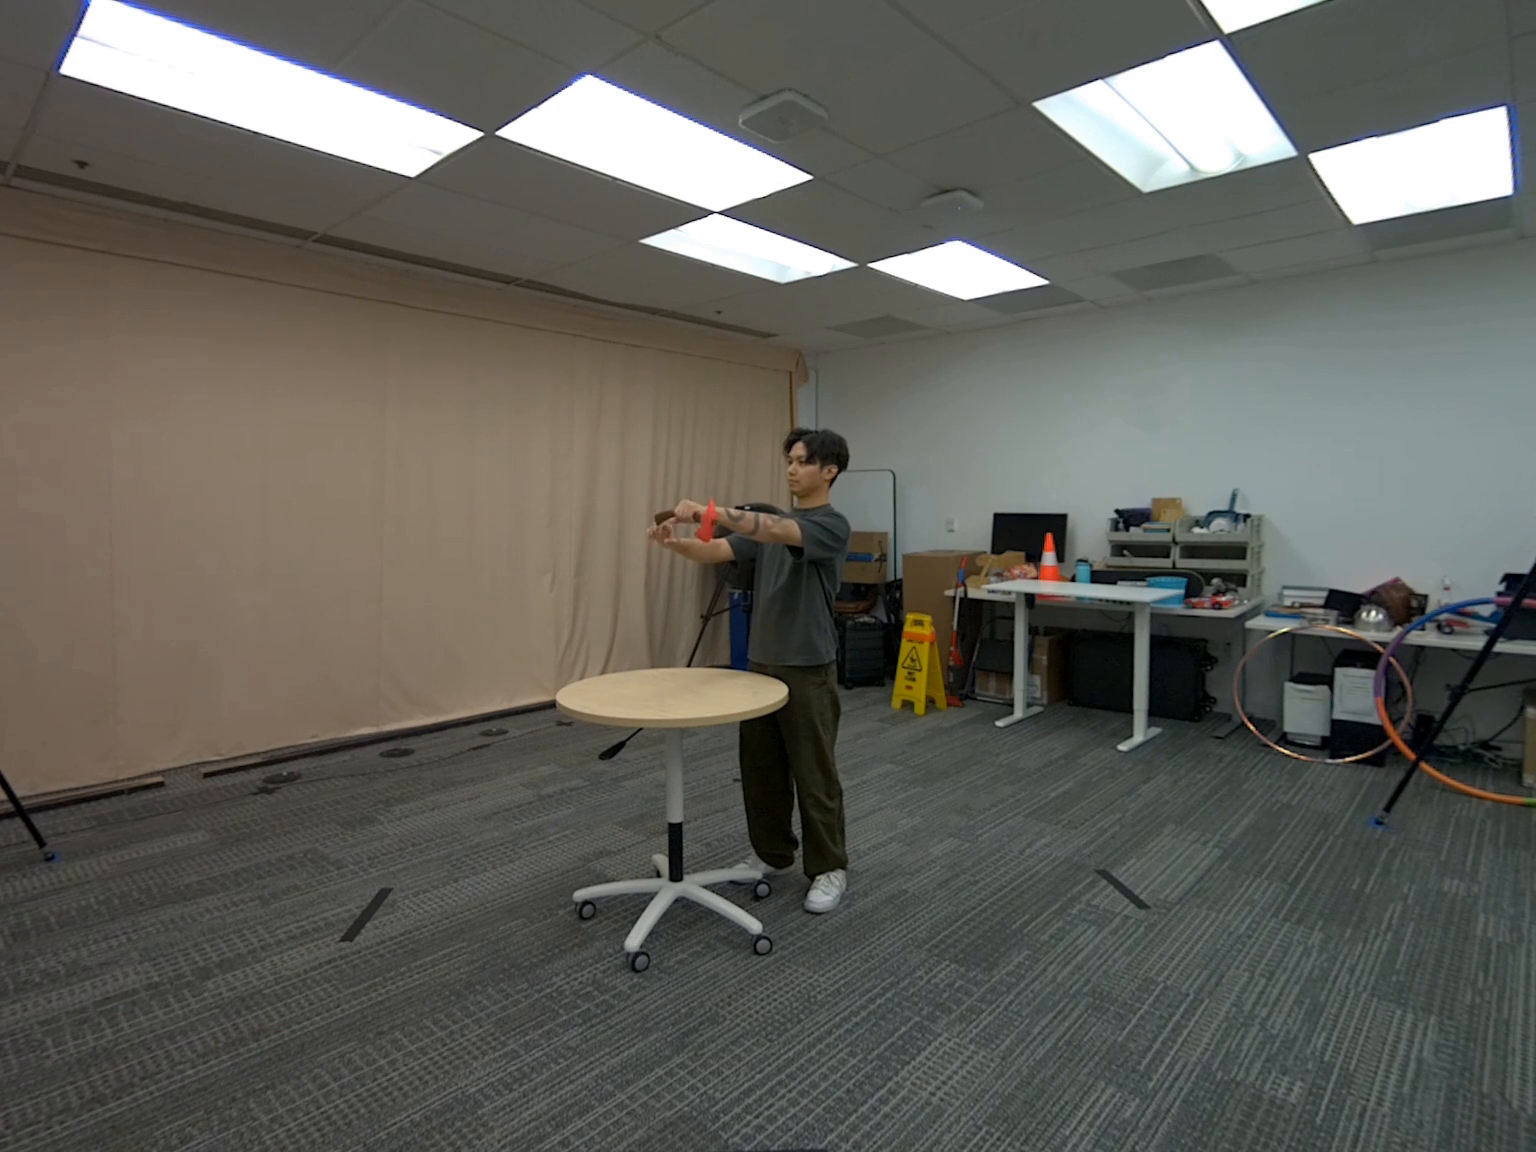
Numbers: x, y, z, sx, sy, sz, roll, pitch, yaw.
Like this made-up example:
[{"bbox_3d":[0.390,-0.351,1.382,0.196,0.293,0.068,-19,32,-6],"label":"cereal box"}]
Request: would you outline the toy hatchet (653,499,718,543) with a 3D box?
[{"bbox_3d":[-0.256,-0.157,2.651,0.278,0.131,0.029,-10,-2,43],"label":"toy hatchet"}]
